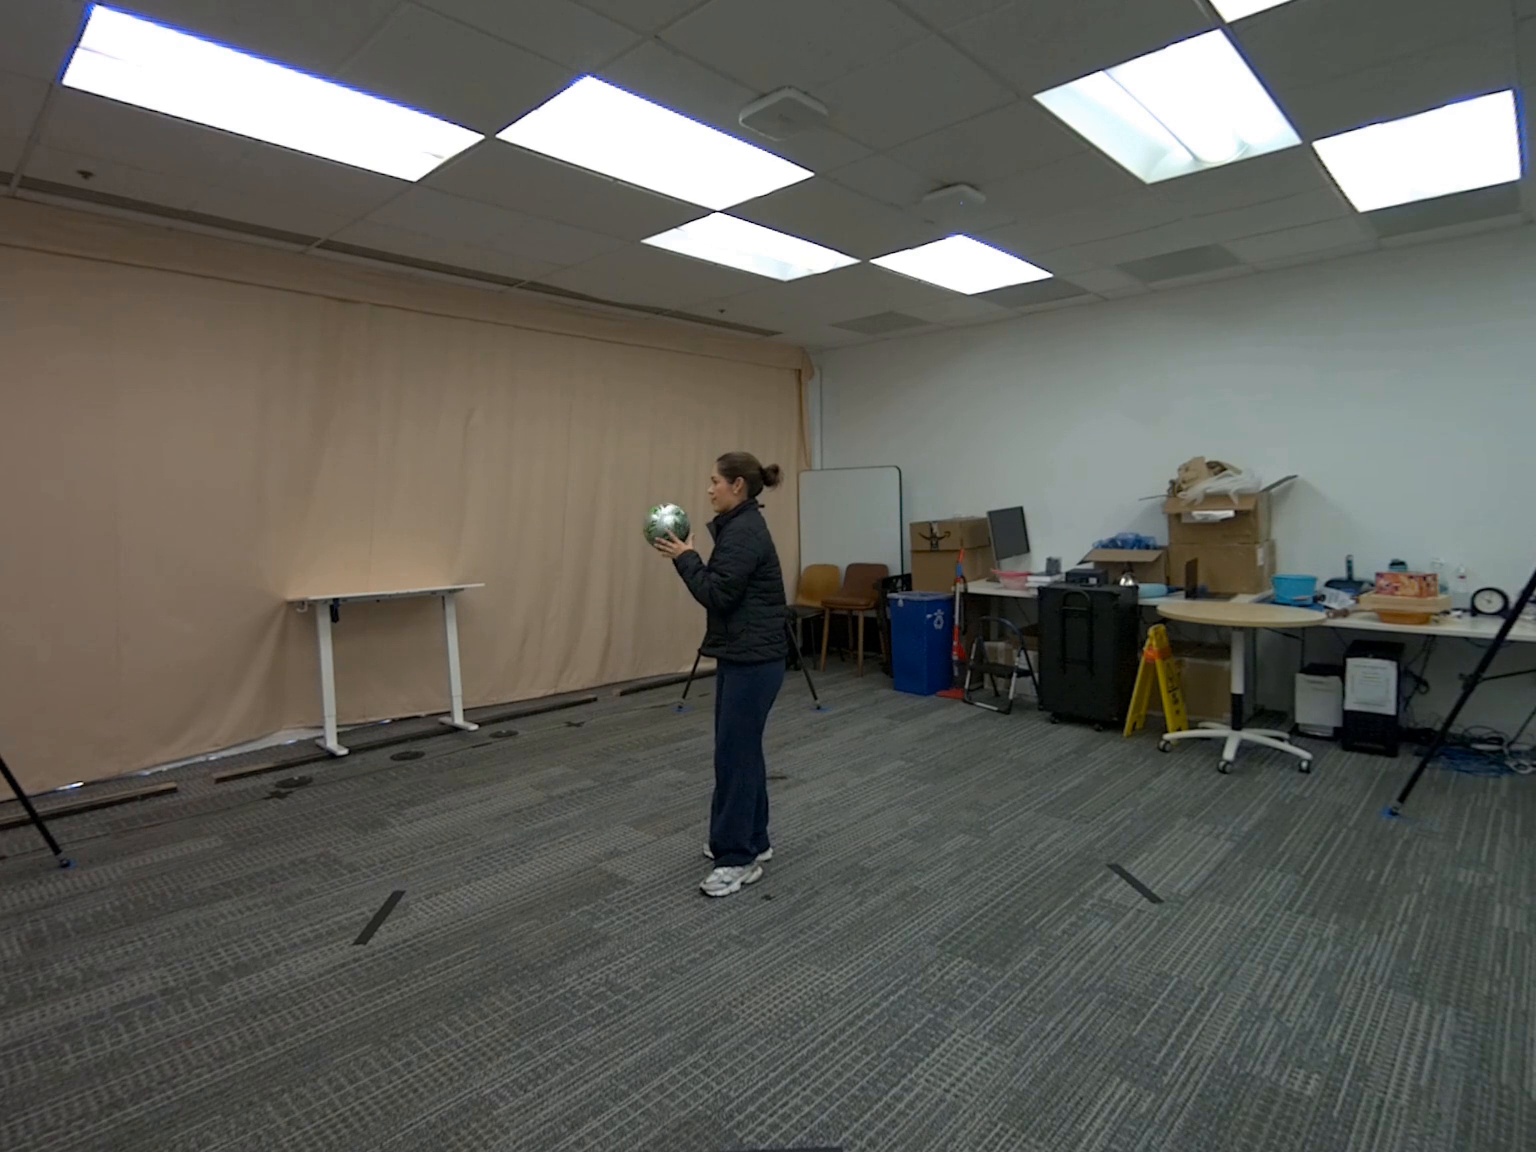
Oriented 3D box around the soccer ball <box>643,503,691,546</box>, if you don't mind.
[{"bbox_3d":[-0.385,-0.179,3.287,0.187,0.187,0.188,-1,4,-2],"label":"soccer ball"}]
